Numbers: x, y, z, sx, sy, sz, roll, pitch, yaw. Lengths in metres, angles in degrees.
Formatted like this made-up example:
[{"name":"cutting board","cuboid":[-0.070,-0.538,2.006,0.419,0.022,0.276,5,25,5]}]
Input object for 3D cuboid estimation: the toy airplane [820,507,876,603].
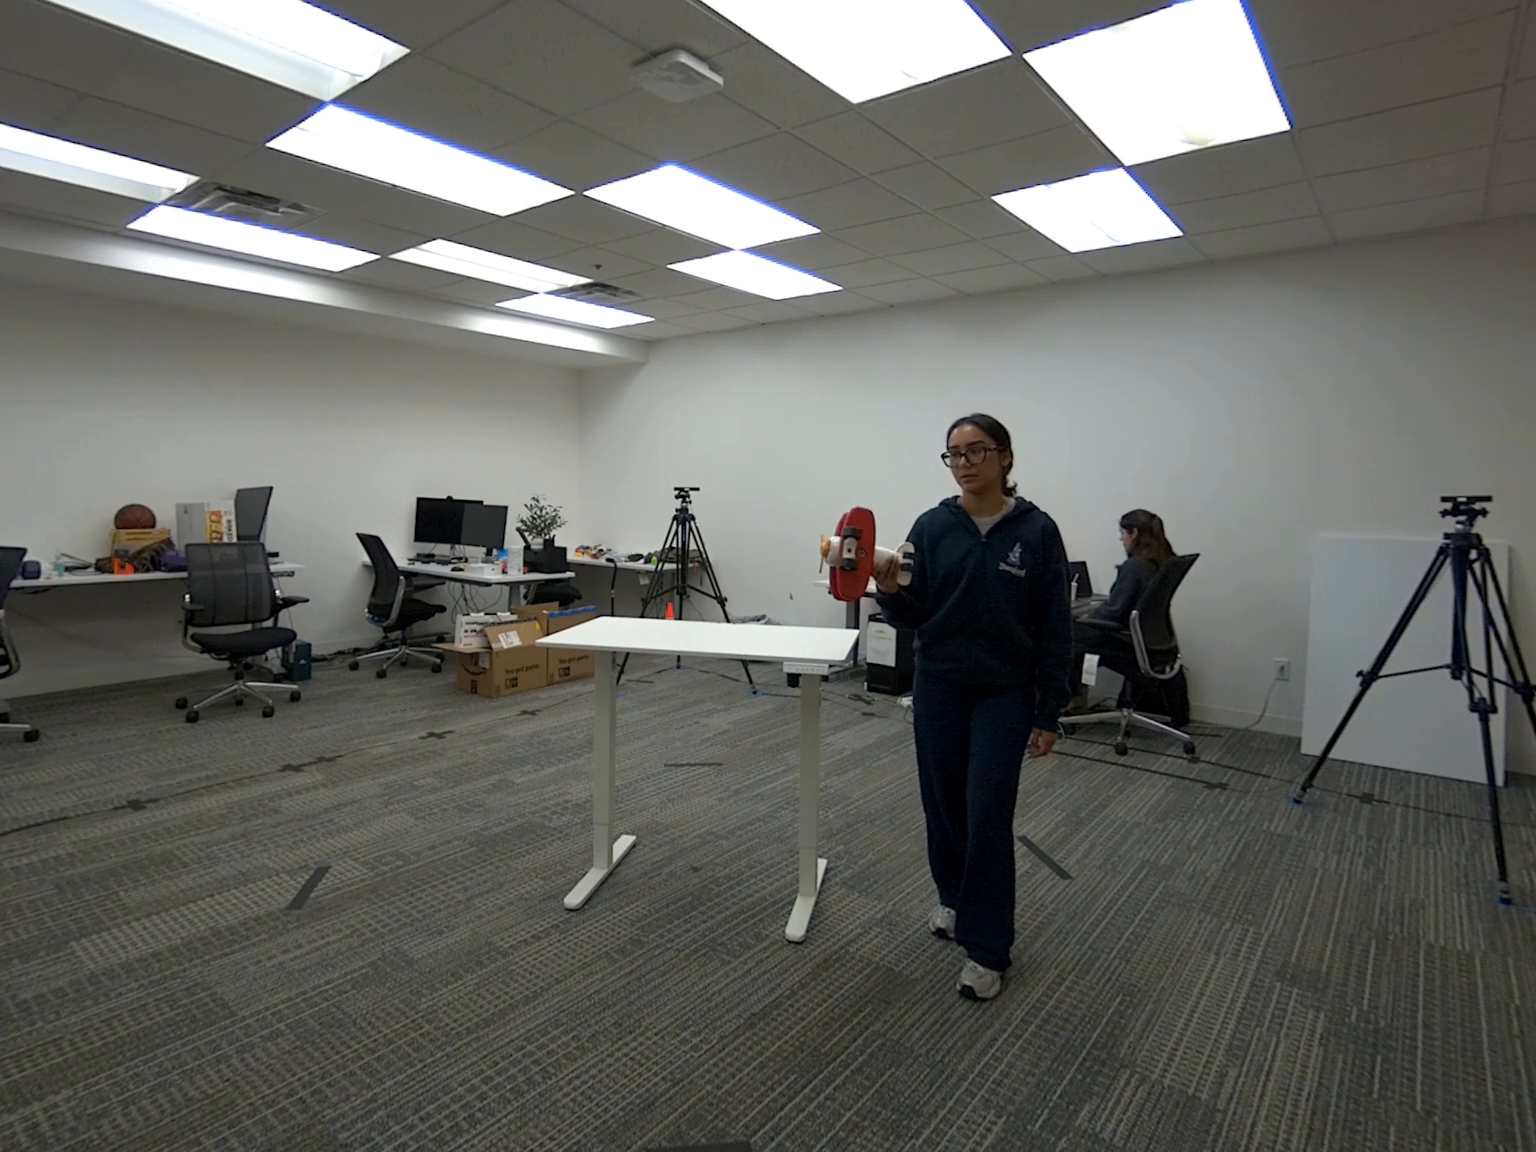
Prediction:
[{"name":"toy airplane","cuboid":[0.276,-0.036,2.350,0.254,0.252,0.159,40,-16,-16]}]
